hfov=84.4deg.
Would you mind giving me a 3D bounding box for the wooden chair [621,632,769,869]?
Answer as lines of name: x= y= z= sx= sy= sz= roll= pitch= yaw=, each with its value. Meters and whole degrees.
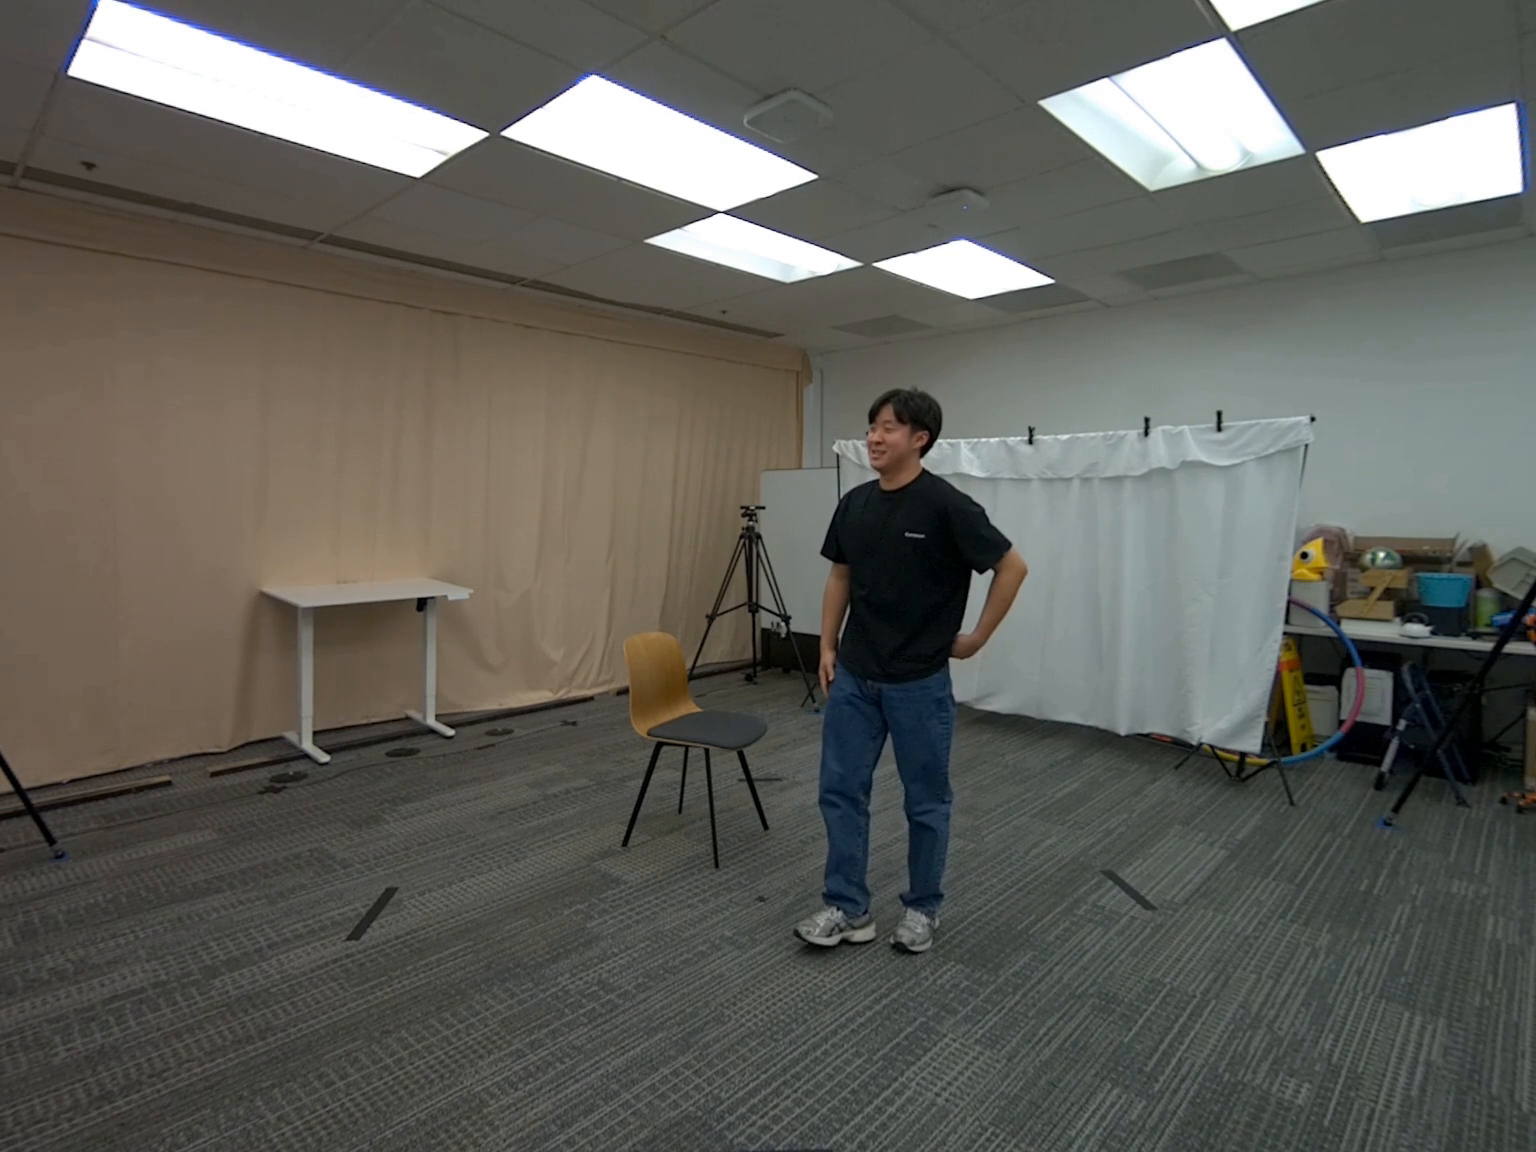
wooden chair: x=-0.291 y=0.675 z=3.500 sx=0.537 sy=0.877 sz=0.466 roll=-4 pitch=1 yaw=28
